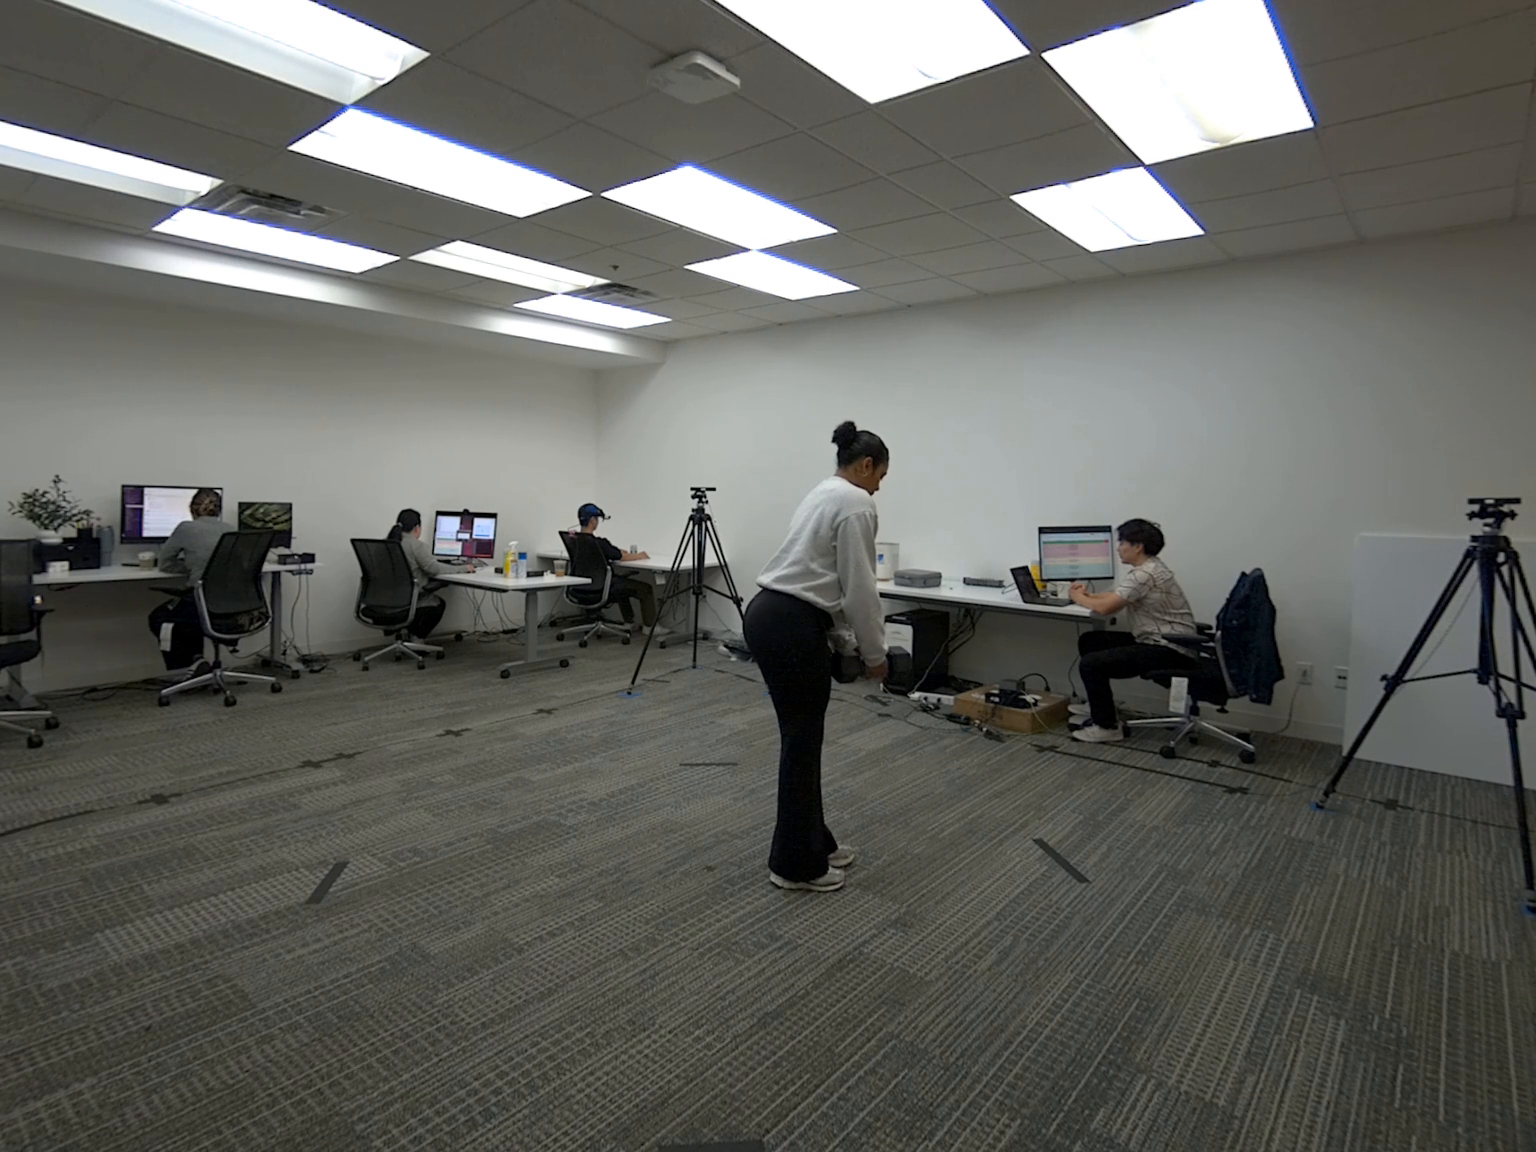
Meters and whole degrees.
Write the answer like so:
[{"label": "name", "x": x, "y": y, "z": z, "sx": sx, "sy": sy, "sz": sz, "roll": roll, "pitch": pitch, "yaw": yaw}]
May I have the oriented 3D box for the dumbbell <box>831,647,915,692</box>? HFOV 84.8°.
[{"label": "dumbbell", "x": 0.358, "y": 0.322, "z": 3.044, "sx": 0.287, "sy": 0.125, "sz": 0.109, "roll": -1, "pitch": -13, "yaw": -22}]
